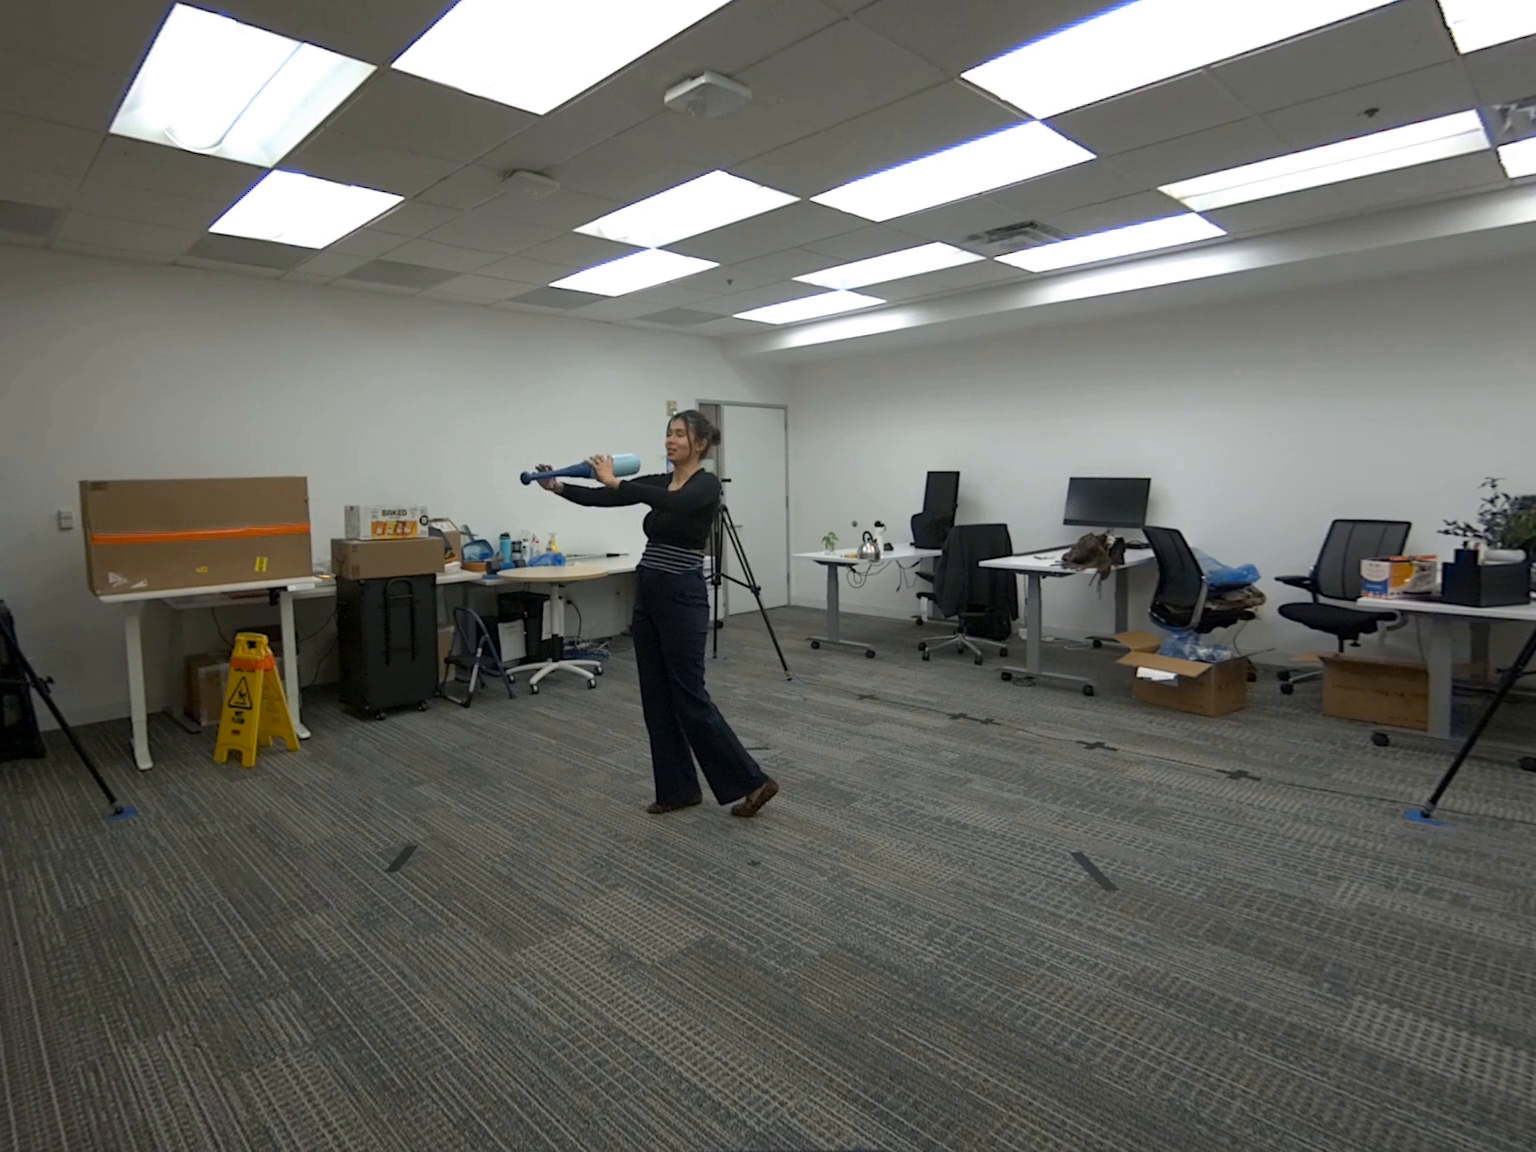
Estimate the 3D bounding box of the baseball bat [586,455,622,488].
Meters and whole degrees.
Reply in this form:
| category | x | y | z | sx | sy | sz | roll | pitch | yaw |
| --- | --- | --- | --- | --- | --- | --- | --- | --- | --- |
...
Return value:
| category | x | y | z | sx | sy | sz | roll | pitch | yaw |
| --- | --- | --- | --- | --- | --- | --- | --- | --- | --- |
| baseball bat | -0.713 | -0.402 | 3.290 | 0.092 | 0.088 | 0.531 | 3 | 14 | 42 |
